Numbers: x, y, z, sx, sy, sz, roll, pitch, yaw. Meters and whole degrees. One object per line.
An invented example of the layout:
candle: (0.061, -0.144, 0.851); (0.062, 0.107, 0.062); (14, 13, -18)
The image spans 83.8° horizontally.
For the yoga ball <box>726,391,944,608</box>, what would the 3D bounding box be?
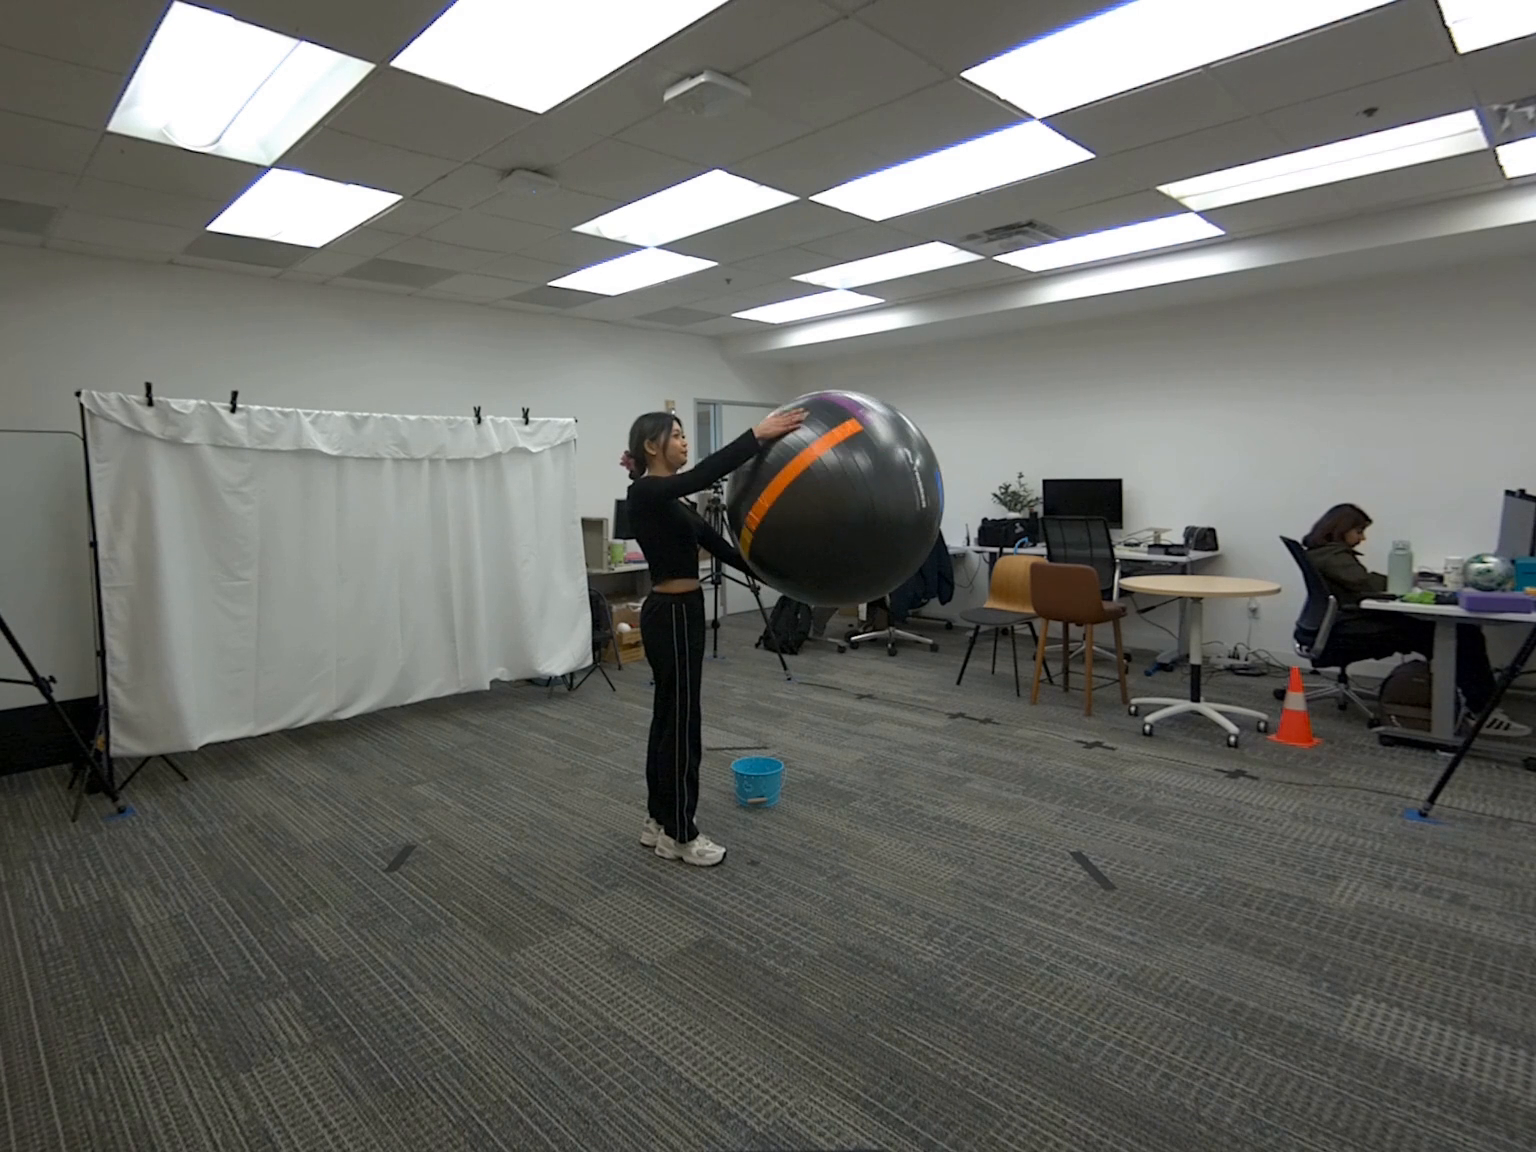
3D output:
yoga ball: (0.234, -0.260, 3.012); (0.757, 0.755, 0.762); (-1, 5, -2)
